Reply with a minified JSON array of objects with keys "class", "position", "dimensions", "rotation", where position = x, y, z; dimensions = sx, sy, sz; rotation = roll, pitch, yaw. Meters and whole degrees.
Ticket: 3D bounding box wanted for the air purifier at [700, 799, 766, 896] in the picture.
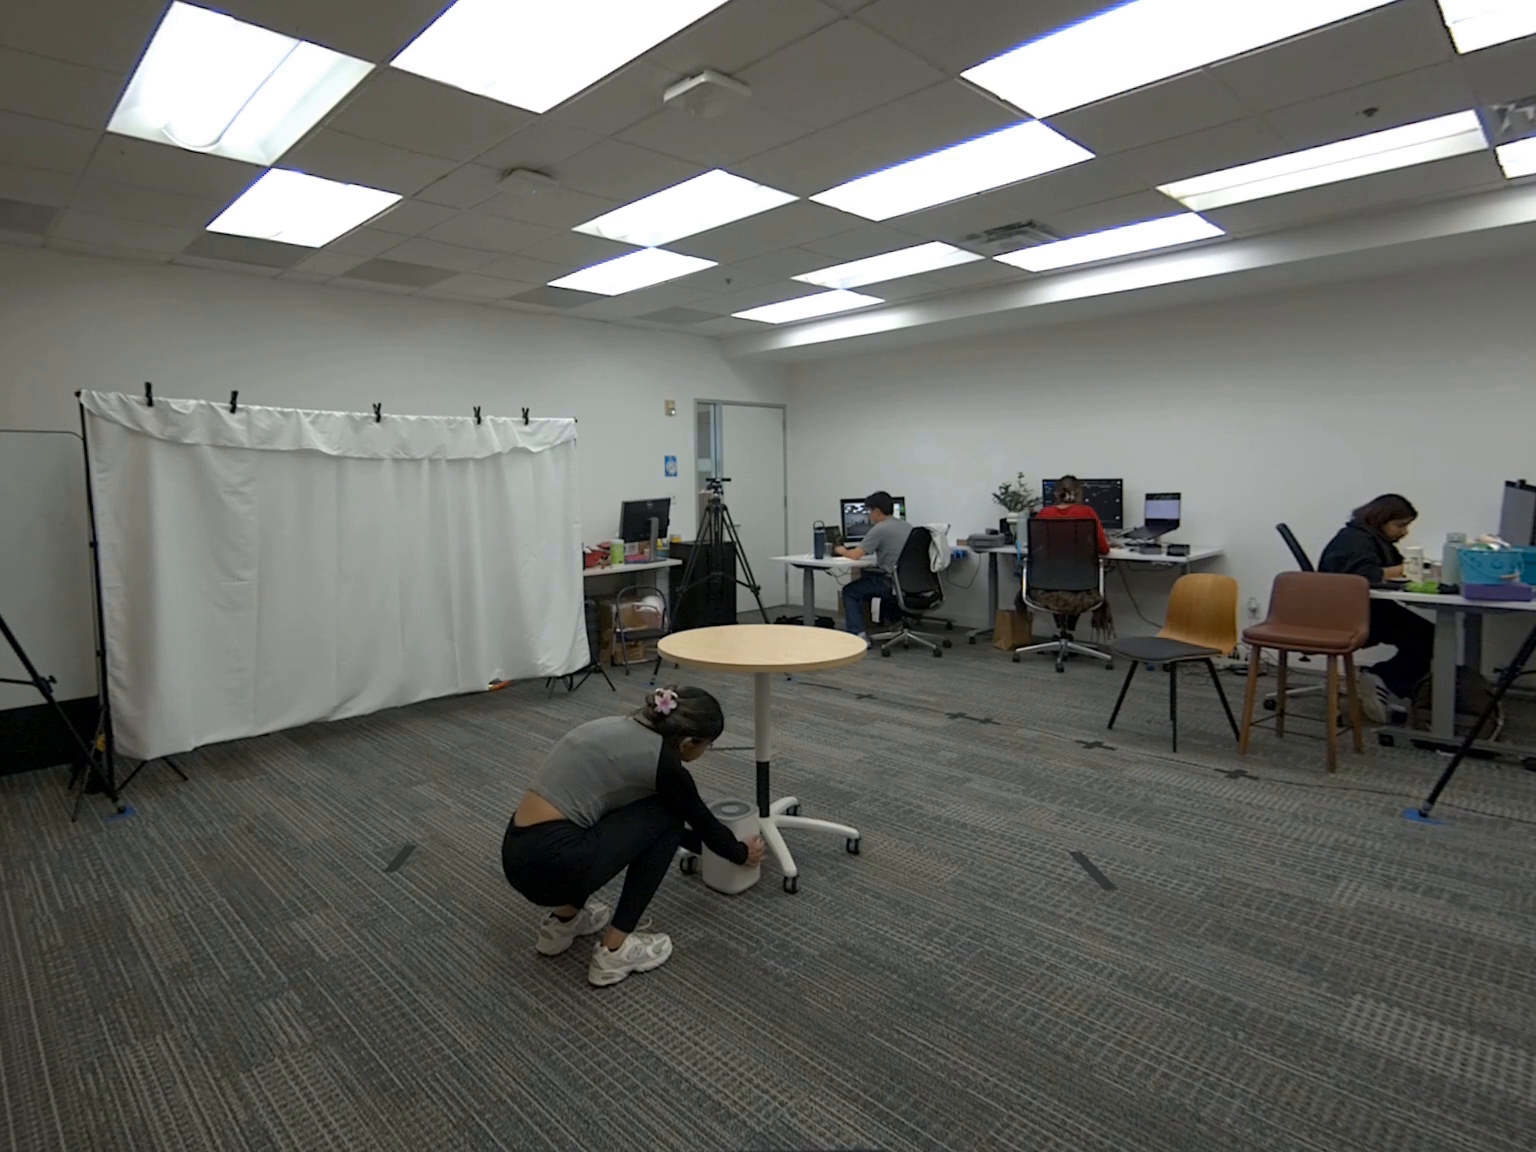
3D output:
[{"class":"air purifier","position":[-0.126,0.928,2.936],"dimensions":[0.176,0.264,0.167],"rotation":[2,6,39]}]
